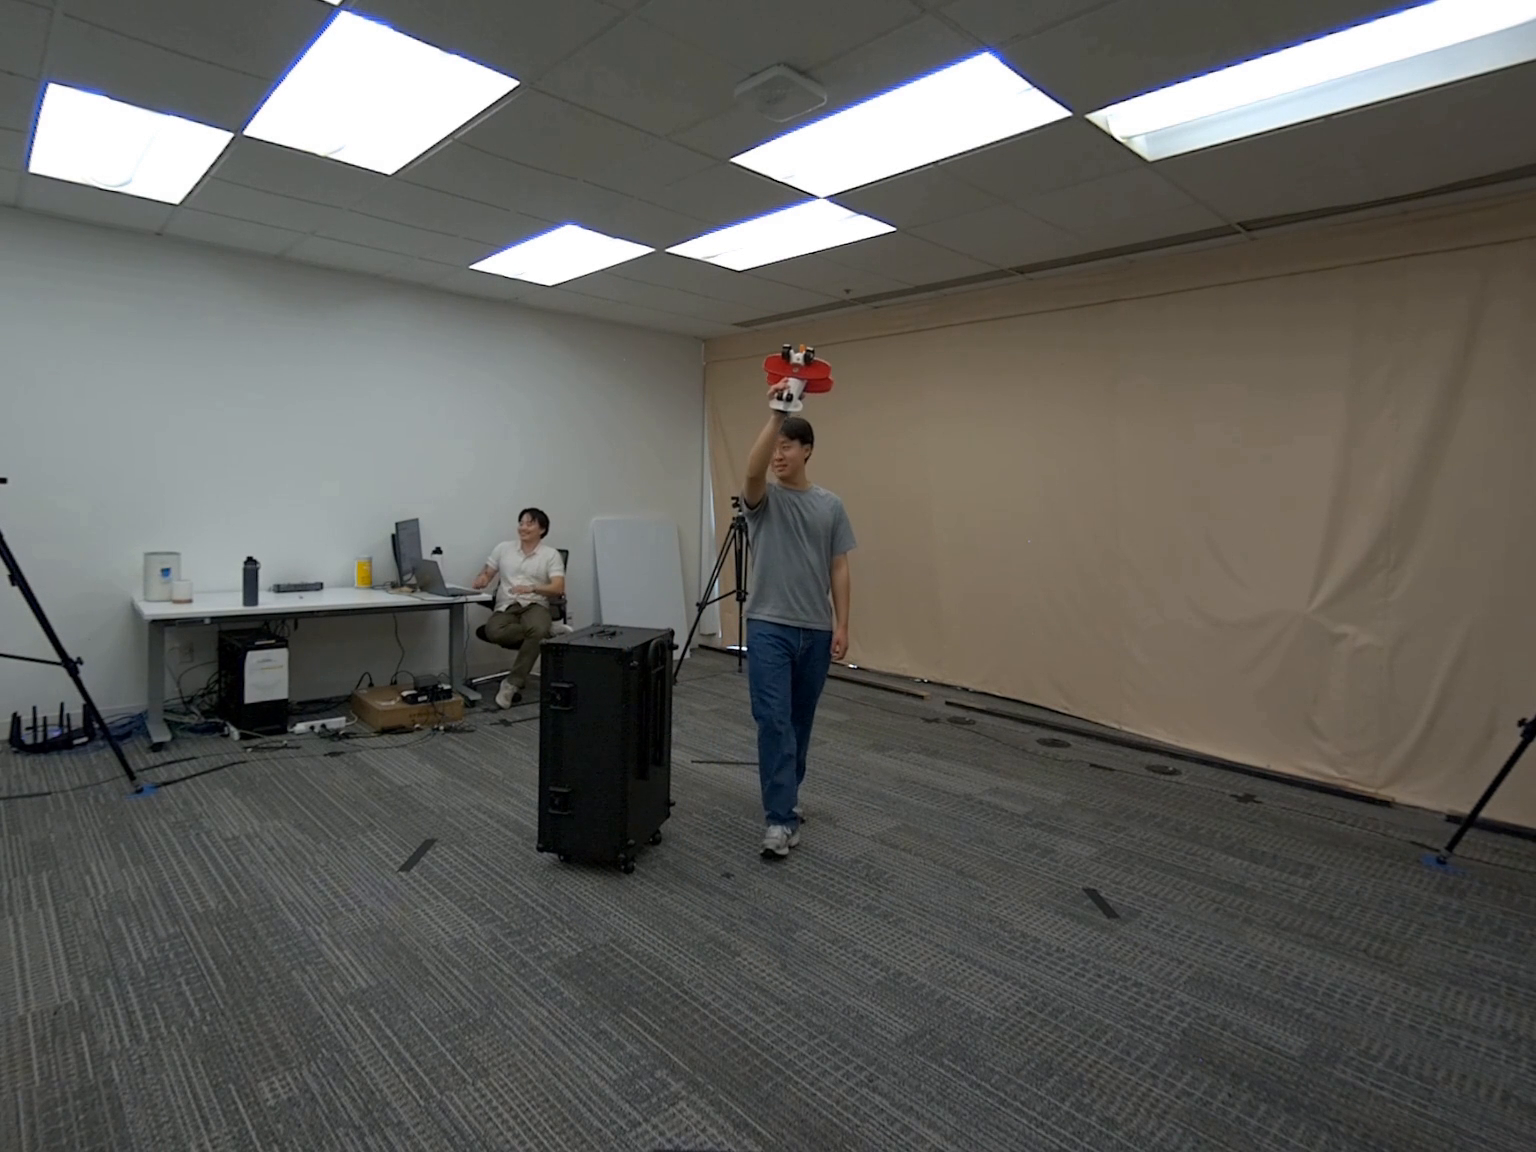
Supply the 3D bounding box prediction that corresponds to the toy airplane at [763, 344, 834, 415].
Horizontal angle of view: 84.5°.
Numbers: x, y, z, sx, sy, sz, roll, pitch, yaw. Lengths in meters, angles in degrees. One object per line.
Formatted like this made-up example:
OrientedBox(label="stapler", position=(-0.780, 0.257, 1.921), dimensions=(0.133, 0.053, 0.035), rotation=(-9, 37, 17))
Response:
OrientedBox(label="toy airplane", position=(0.068, -0.723, 3.094), dimensions=(0.256, 0.259, 0.153), rotation=(41, -1, 20))
